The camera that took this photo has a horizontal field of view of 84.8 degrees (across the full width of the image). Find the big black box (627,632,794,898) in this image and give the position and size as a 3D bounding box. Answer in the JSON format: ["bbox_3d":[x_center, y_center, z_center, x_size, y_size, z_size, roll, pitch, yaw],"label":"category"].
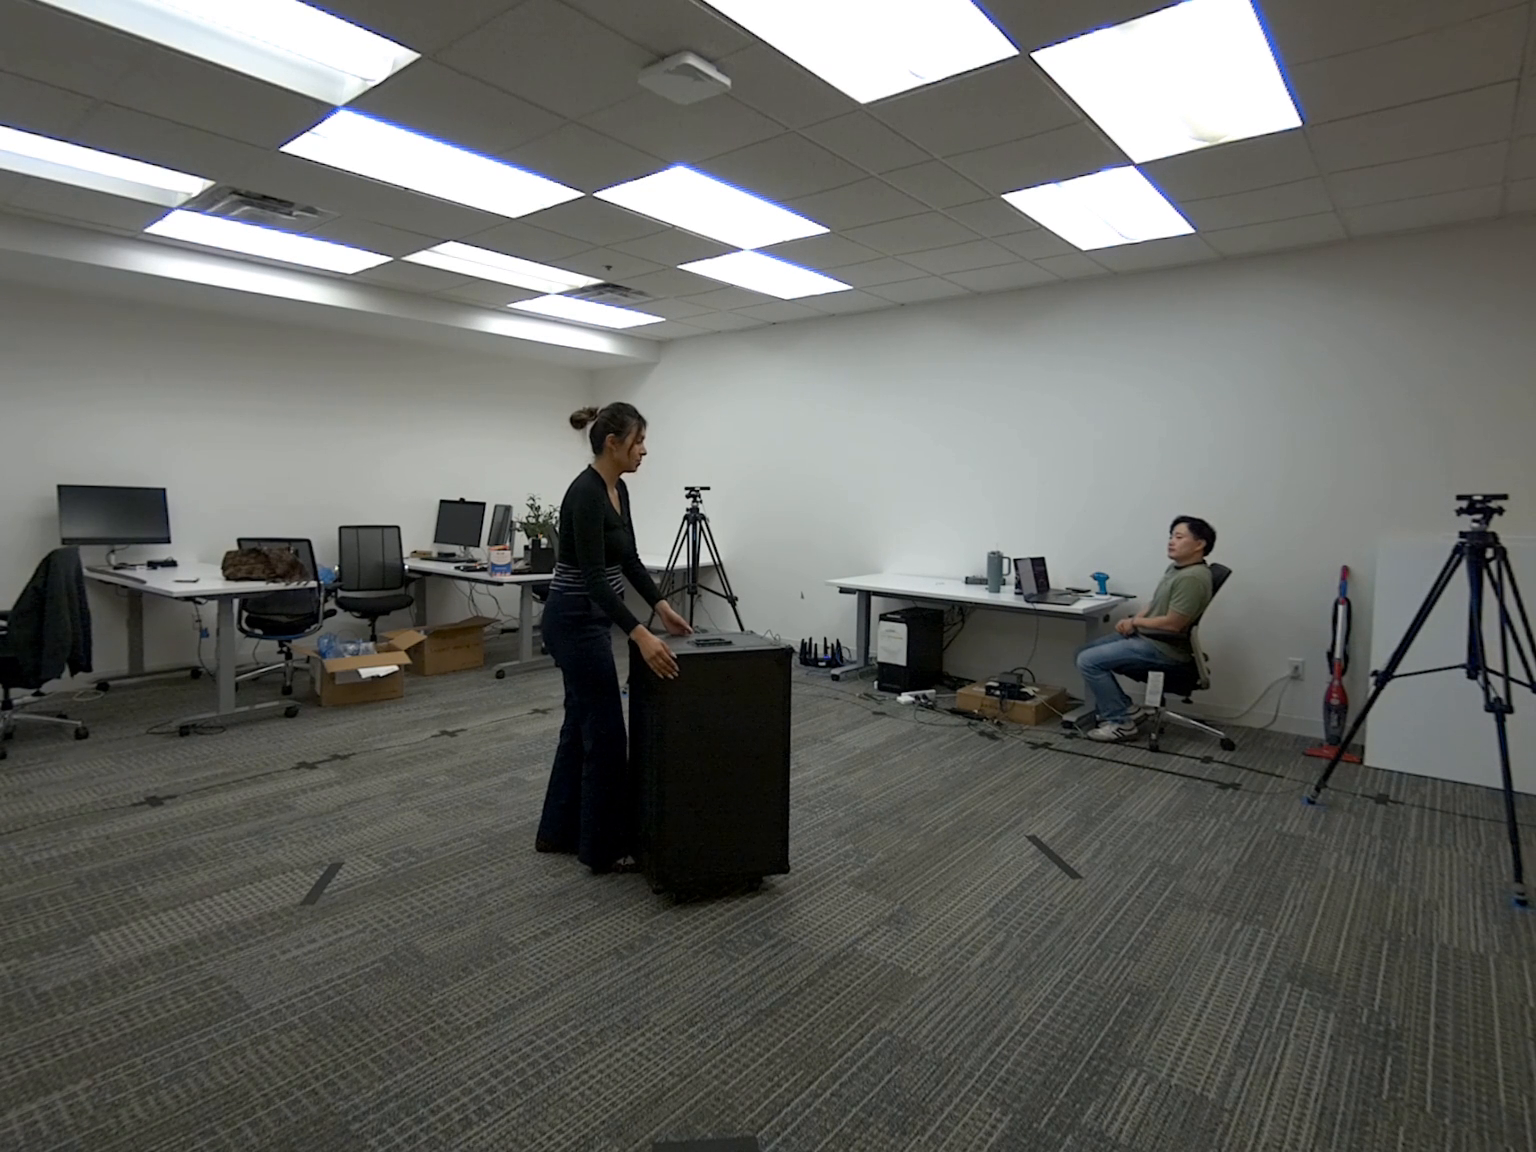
[{"bbox_3d":[-0.216,0.588,2.981,0.510,0.859,0.406,-1,3,-23],"label":"big black box"}]
